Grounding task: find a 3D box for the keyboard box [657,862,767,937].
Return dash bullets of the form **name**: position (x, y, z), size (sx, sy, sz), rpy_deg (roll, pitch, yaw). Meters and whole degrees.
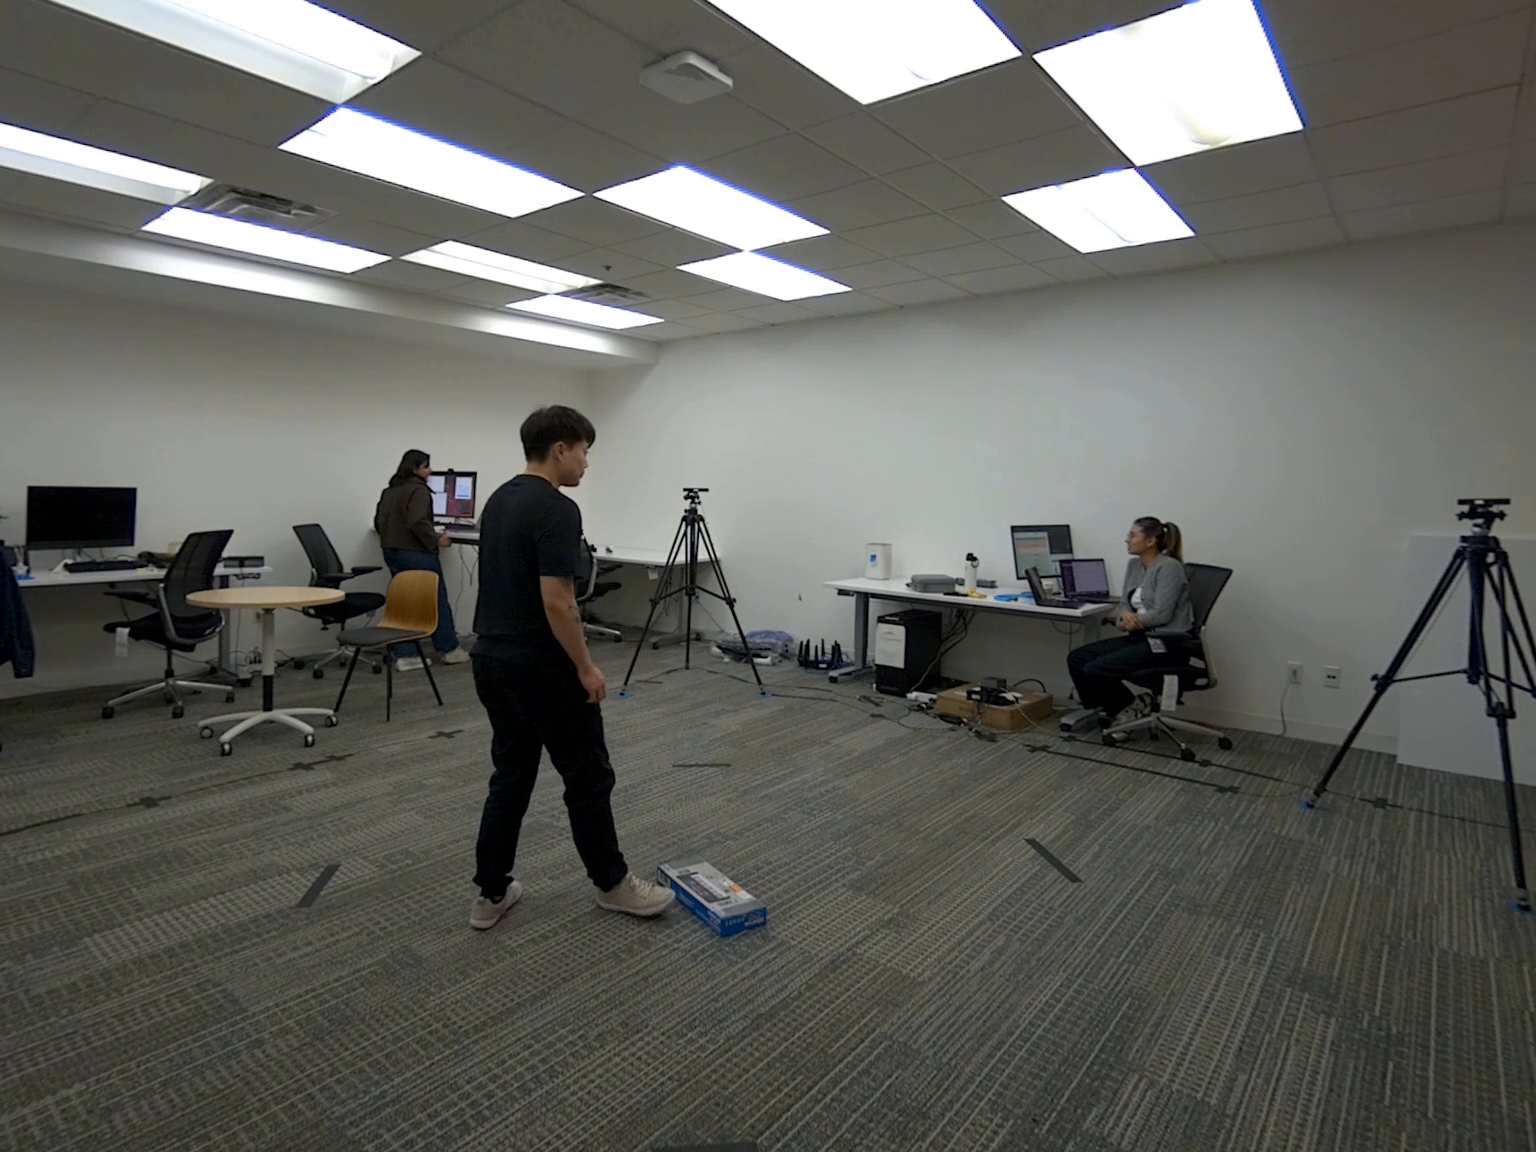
- **keyboard box**: position (-0.203, 1.063, 2.856), size (0.171, 0.059, 0.451), rpy_deg (-1, 6, -34)
